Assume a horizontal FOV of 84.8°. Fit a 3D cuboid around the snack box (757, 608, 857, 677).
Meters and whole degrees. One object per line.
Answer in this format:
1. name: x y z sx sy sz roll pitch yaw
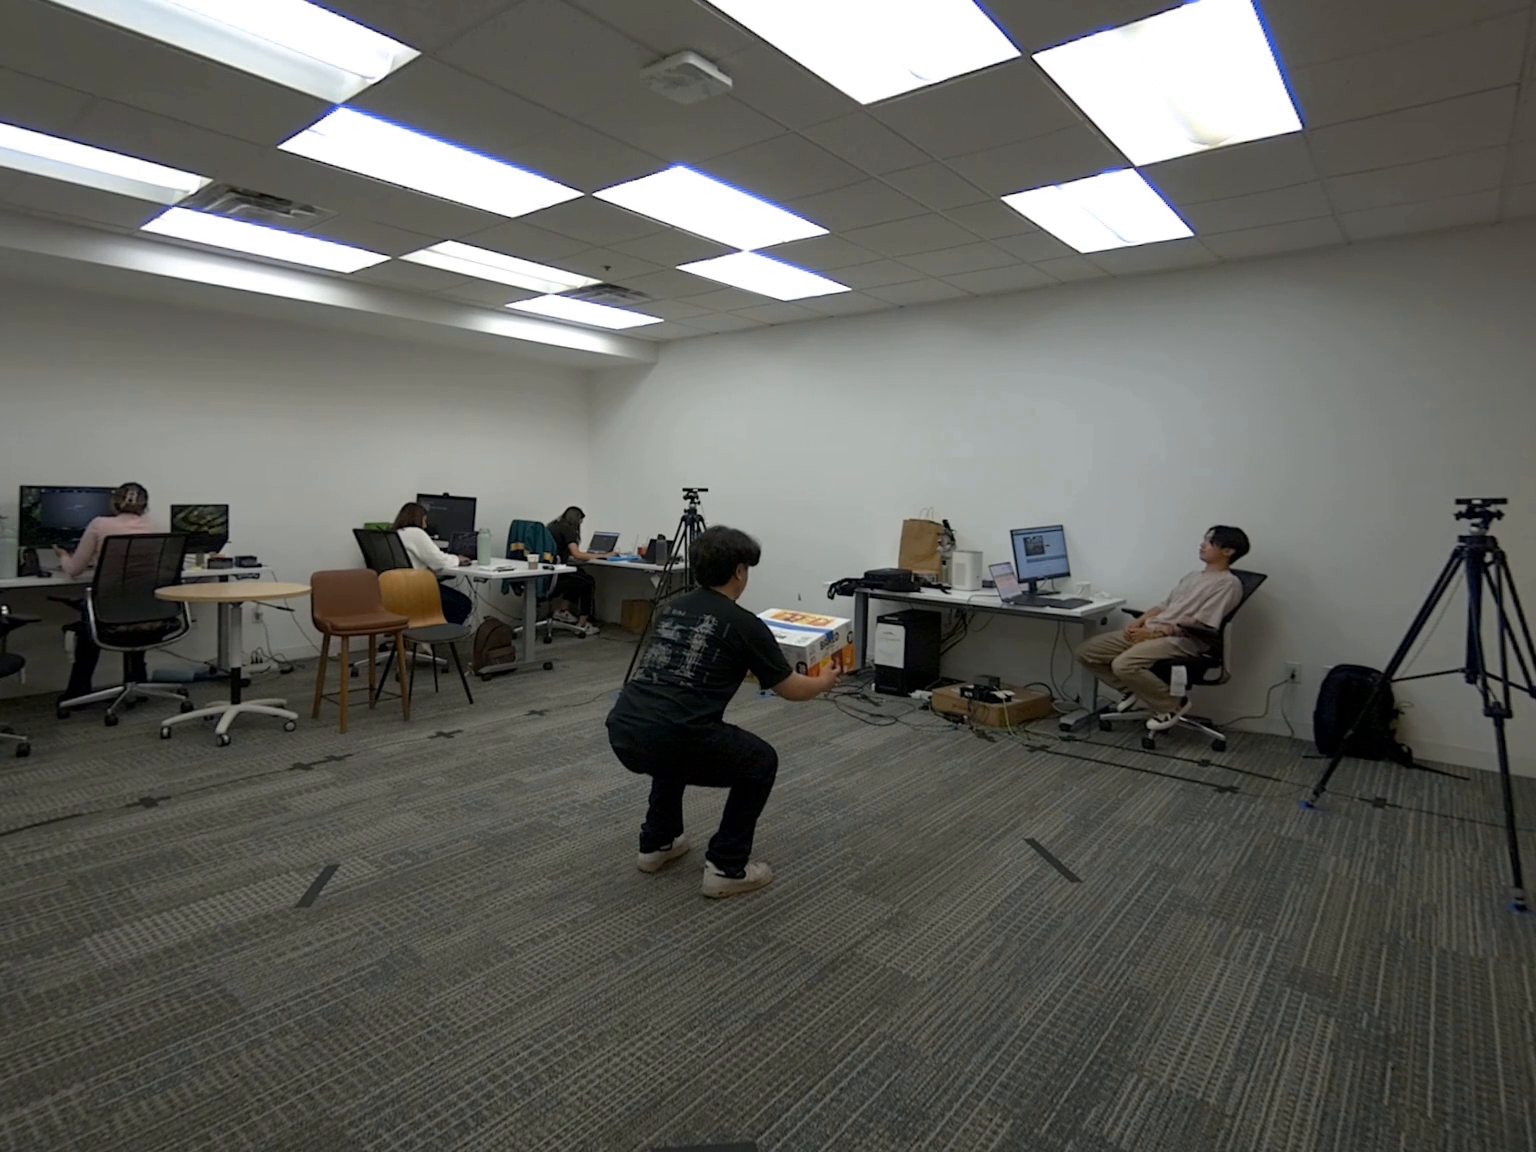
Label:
1. snack box: 0.075 0.296 3.463 0.419 0.203 0.333 6 17 37
